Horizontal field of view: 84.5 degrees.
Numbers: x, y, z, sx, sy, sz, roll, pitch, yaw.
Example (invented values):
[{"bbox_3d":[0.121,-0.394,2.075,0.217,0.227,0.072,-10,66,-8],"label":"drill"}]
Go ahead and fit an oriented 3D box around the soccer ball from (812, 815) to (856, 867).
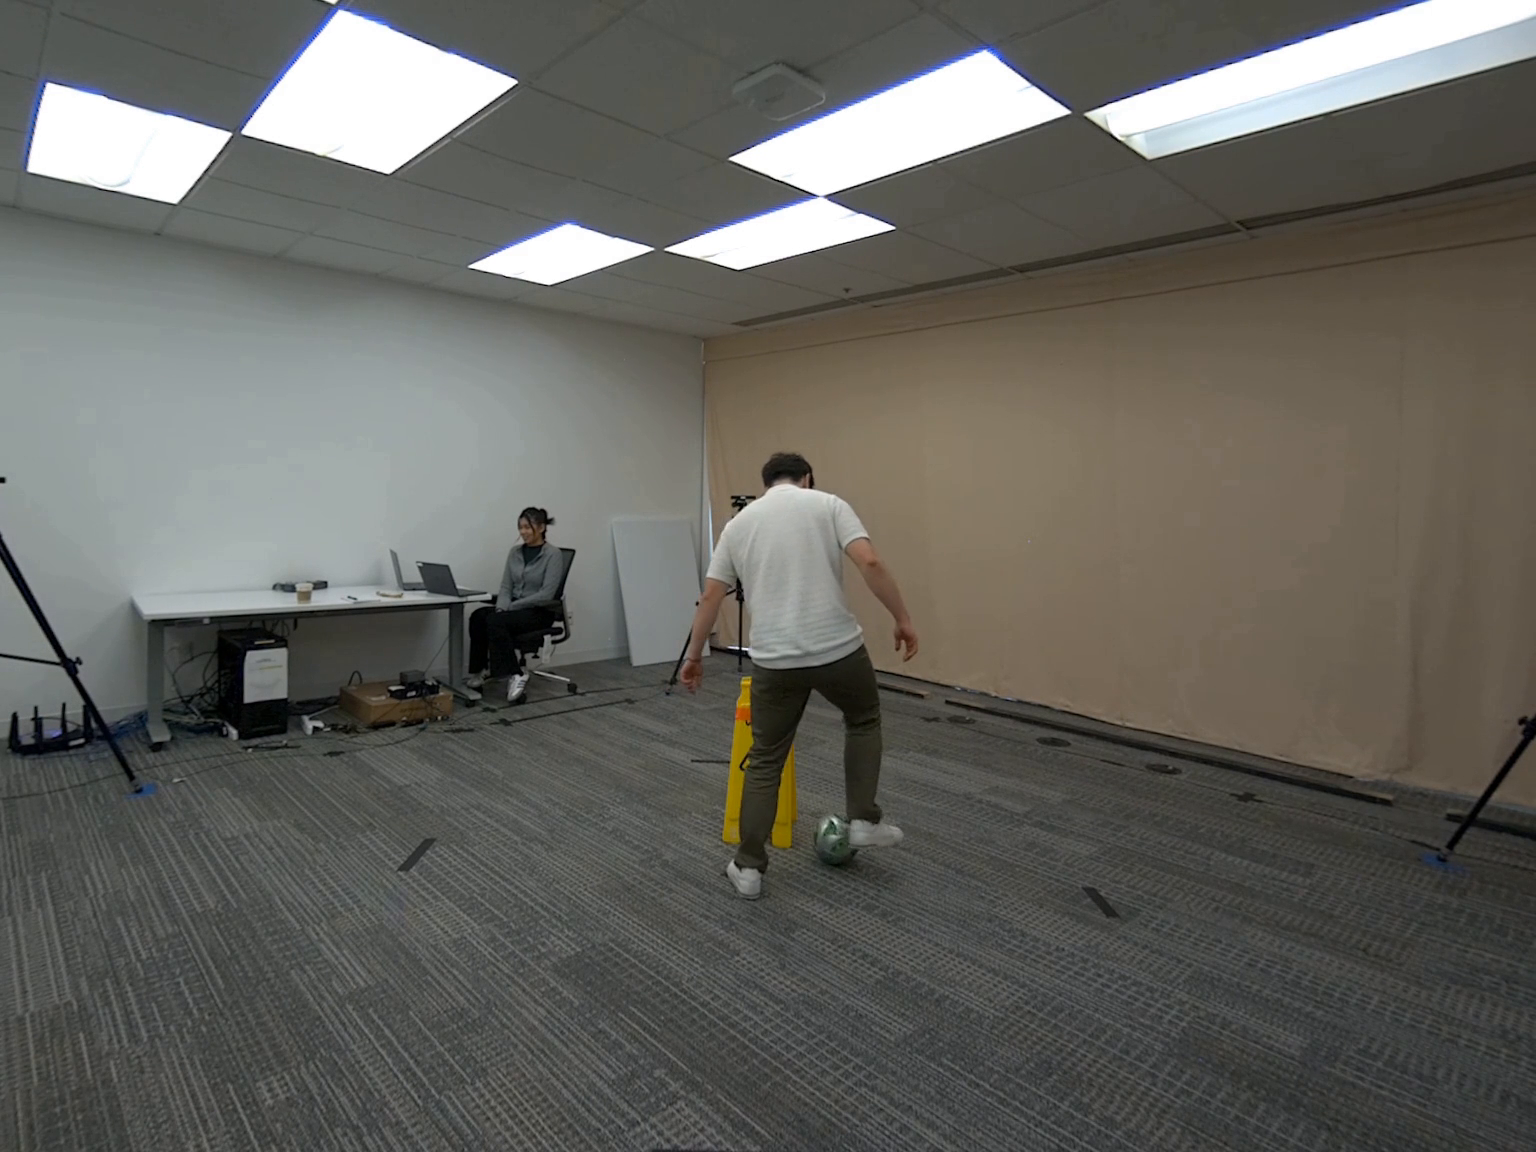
[{"bbox_3d":[0.251,1.005,3.222,0.187,0.187,0.188,1,4,-1],"label":"soccer ball"}]
